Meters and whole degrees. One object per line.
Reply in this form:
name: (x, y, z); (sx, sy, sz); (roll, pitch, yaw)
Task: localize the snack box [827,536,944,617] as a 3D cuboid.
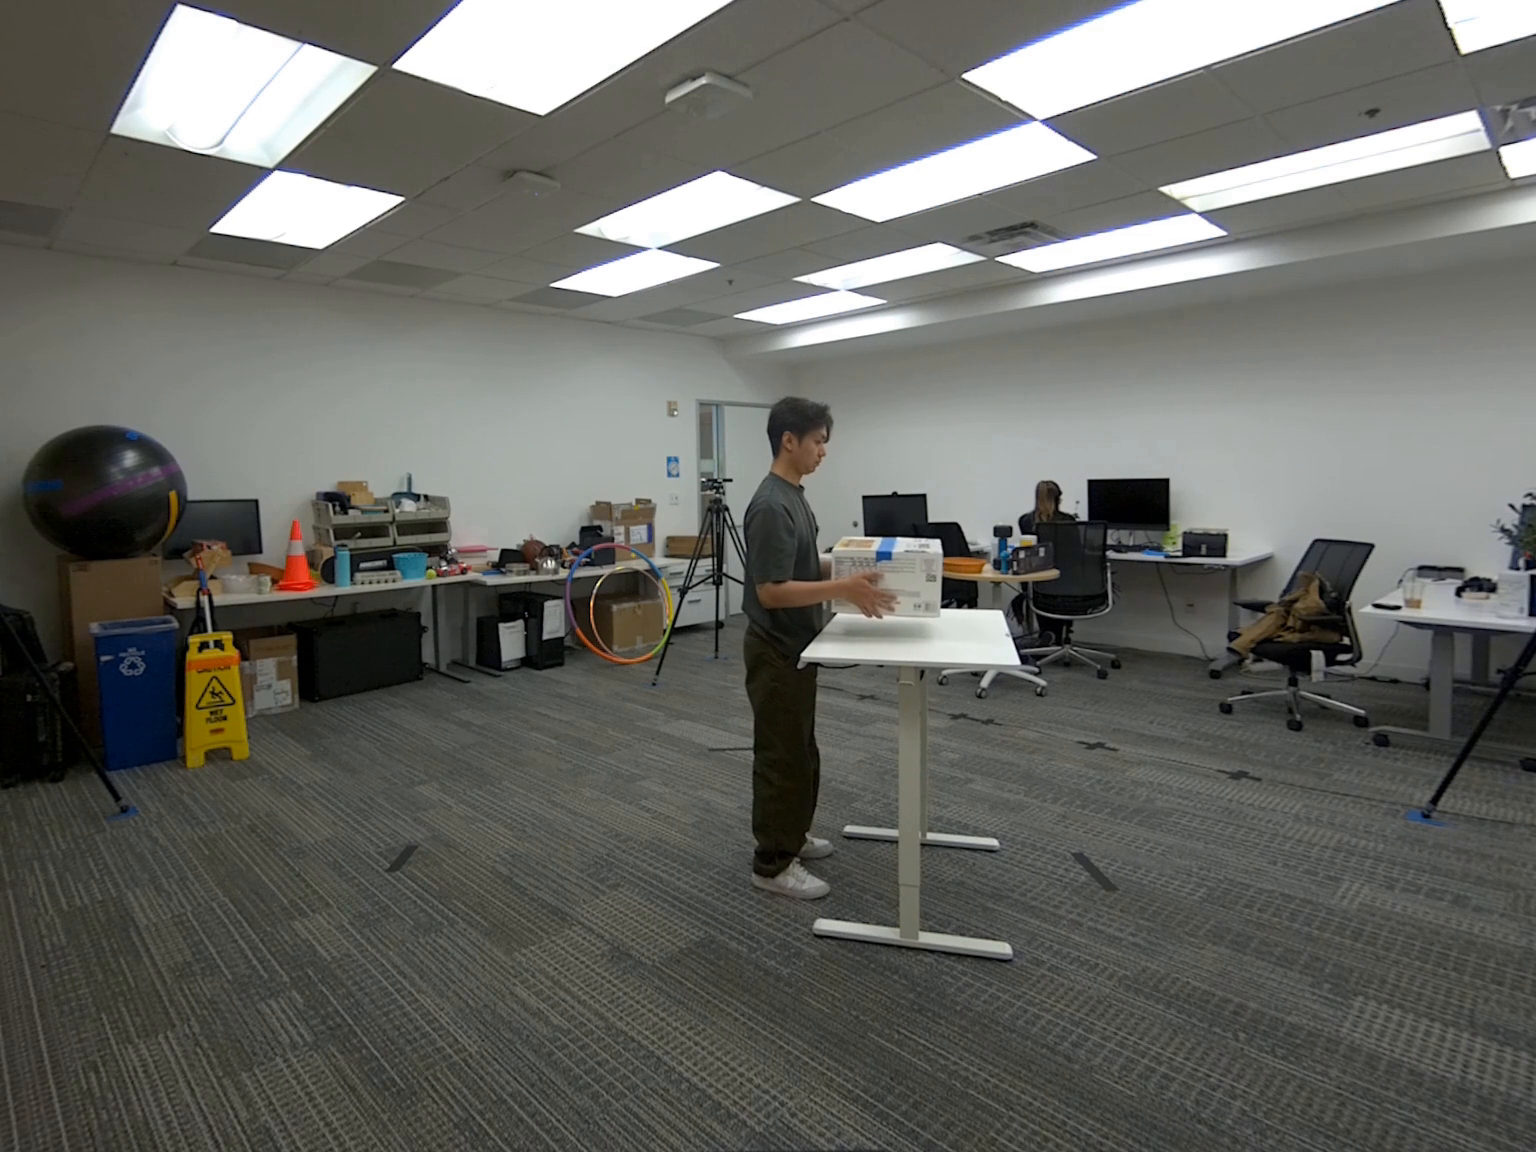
snack box: (0.400, -0.006, 2.854); (0.345, 0.204, 0.403); (2, 9, 12)
